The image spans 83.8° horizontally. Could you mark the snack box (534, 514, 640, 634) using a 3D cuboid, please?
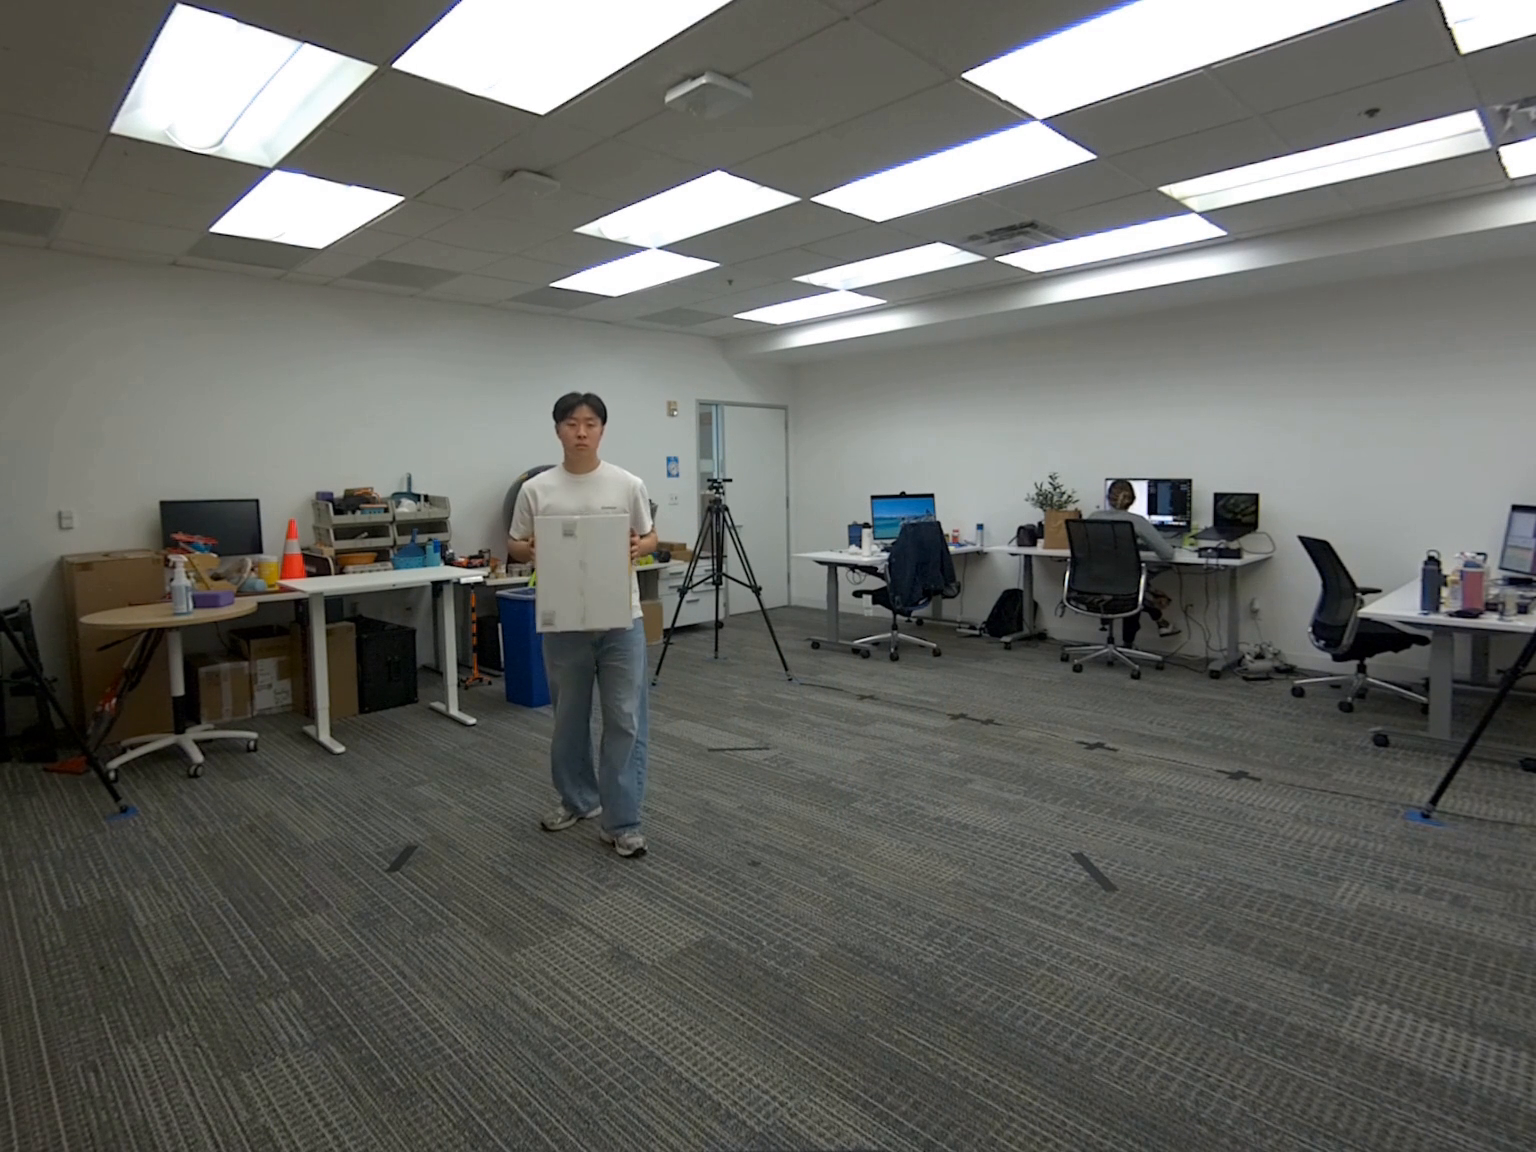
[{"bbox_3d":[-0.670,-0.016,3.083,0.338,0.404,0.207,-2,2,-7],"label":"snack box"}]
